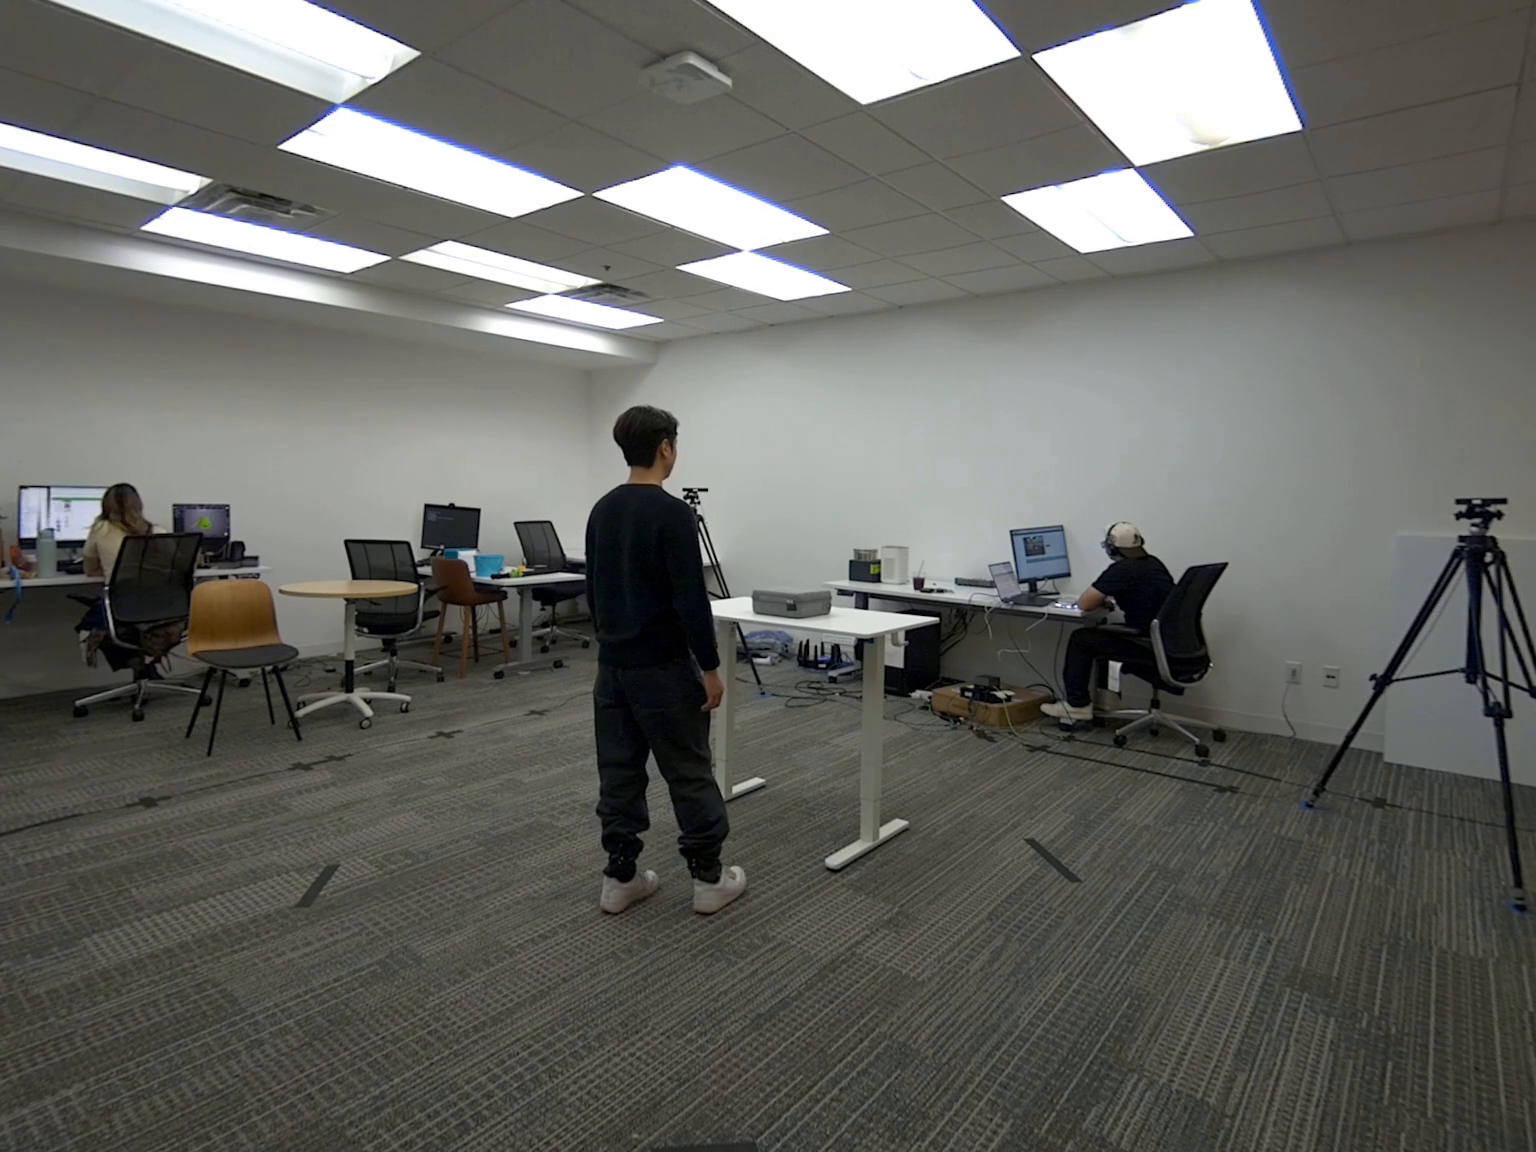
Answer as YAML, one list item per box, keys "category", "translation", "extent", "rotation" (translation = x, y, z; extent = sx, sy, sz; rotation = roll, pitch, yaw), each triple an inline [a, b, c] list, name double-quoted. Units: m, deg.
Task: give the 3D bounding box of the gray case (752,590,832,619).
- category: "gray case"
  translation: [0.090, 0.101, 3.524]
  extent: [0.265, 0.104, 0.253]
  rotation: [3, 4, 38]
